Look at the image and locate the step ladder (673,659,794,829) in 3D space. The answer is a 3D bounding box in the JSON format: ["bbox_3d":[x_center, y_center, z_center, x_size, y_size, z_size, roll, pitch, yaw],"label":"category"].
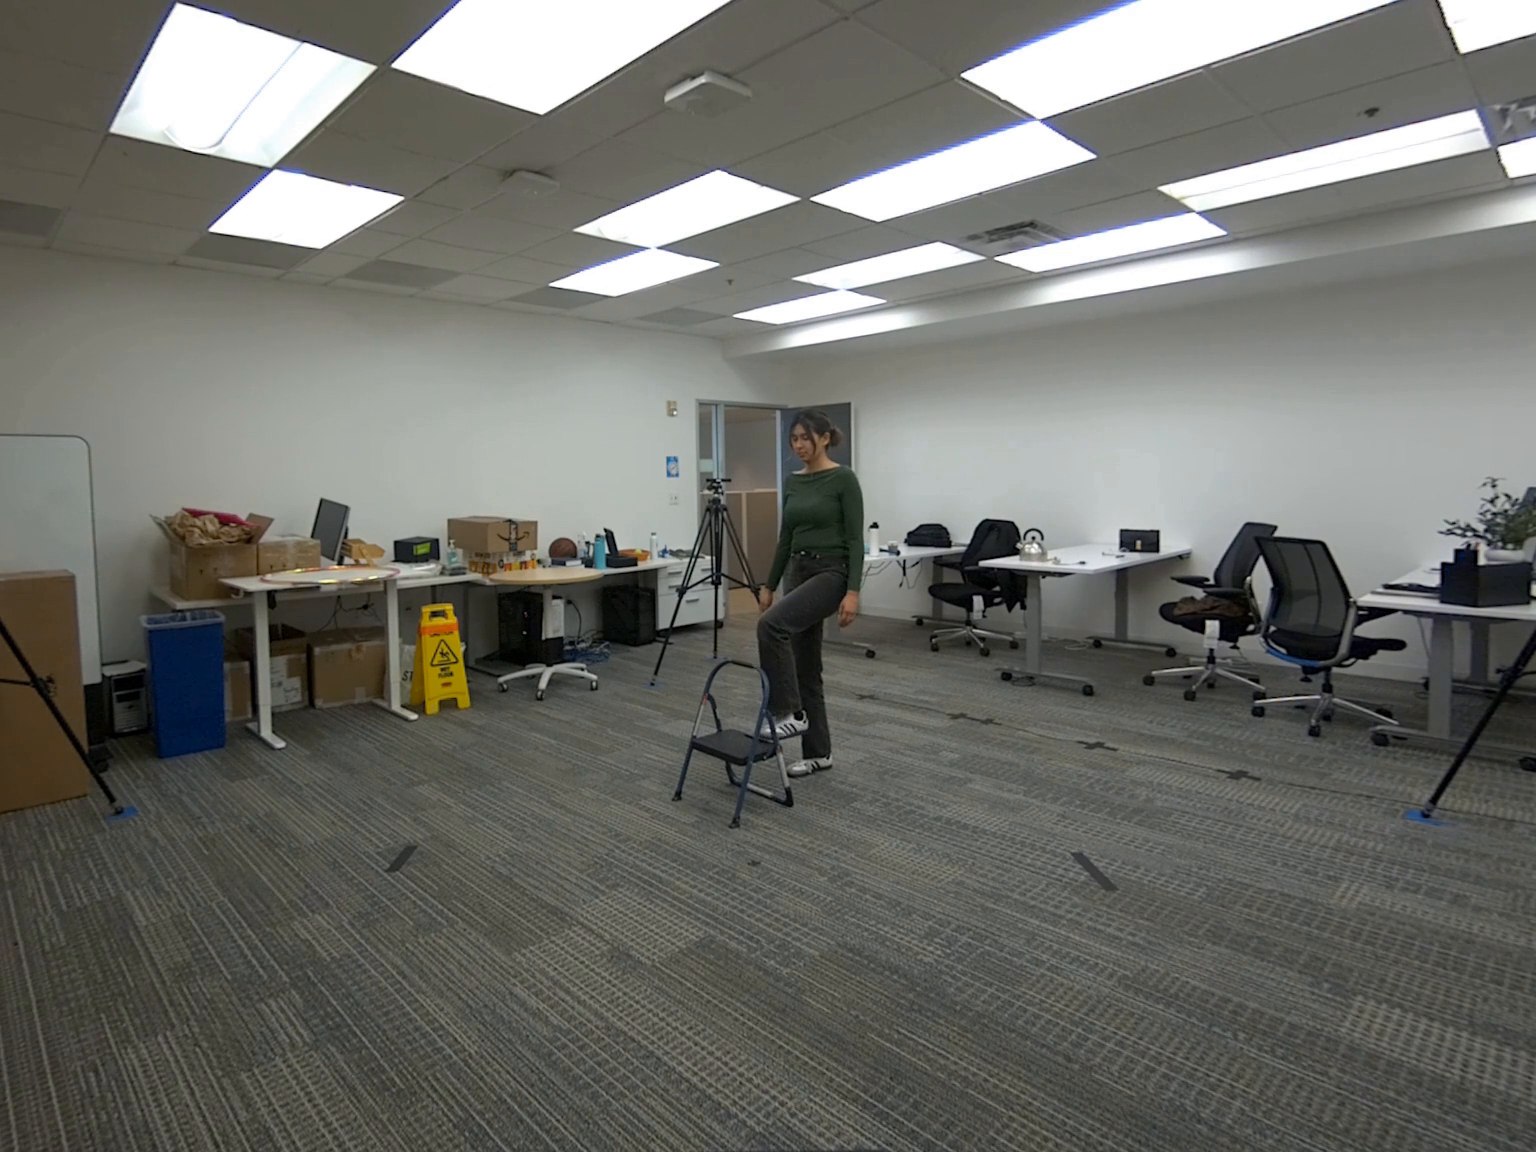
[{"bbox_3d":[-0.157,0.679,3.669,0.340,0.604,0.444,-4,5,-41],"label":"step ladder"}]
